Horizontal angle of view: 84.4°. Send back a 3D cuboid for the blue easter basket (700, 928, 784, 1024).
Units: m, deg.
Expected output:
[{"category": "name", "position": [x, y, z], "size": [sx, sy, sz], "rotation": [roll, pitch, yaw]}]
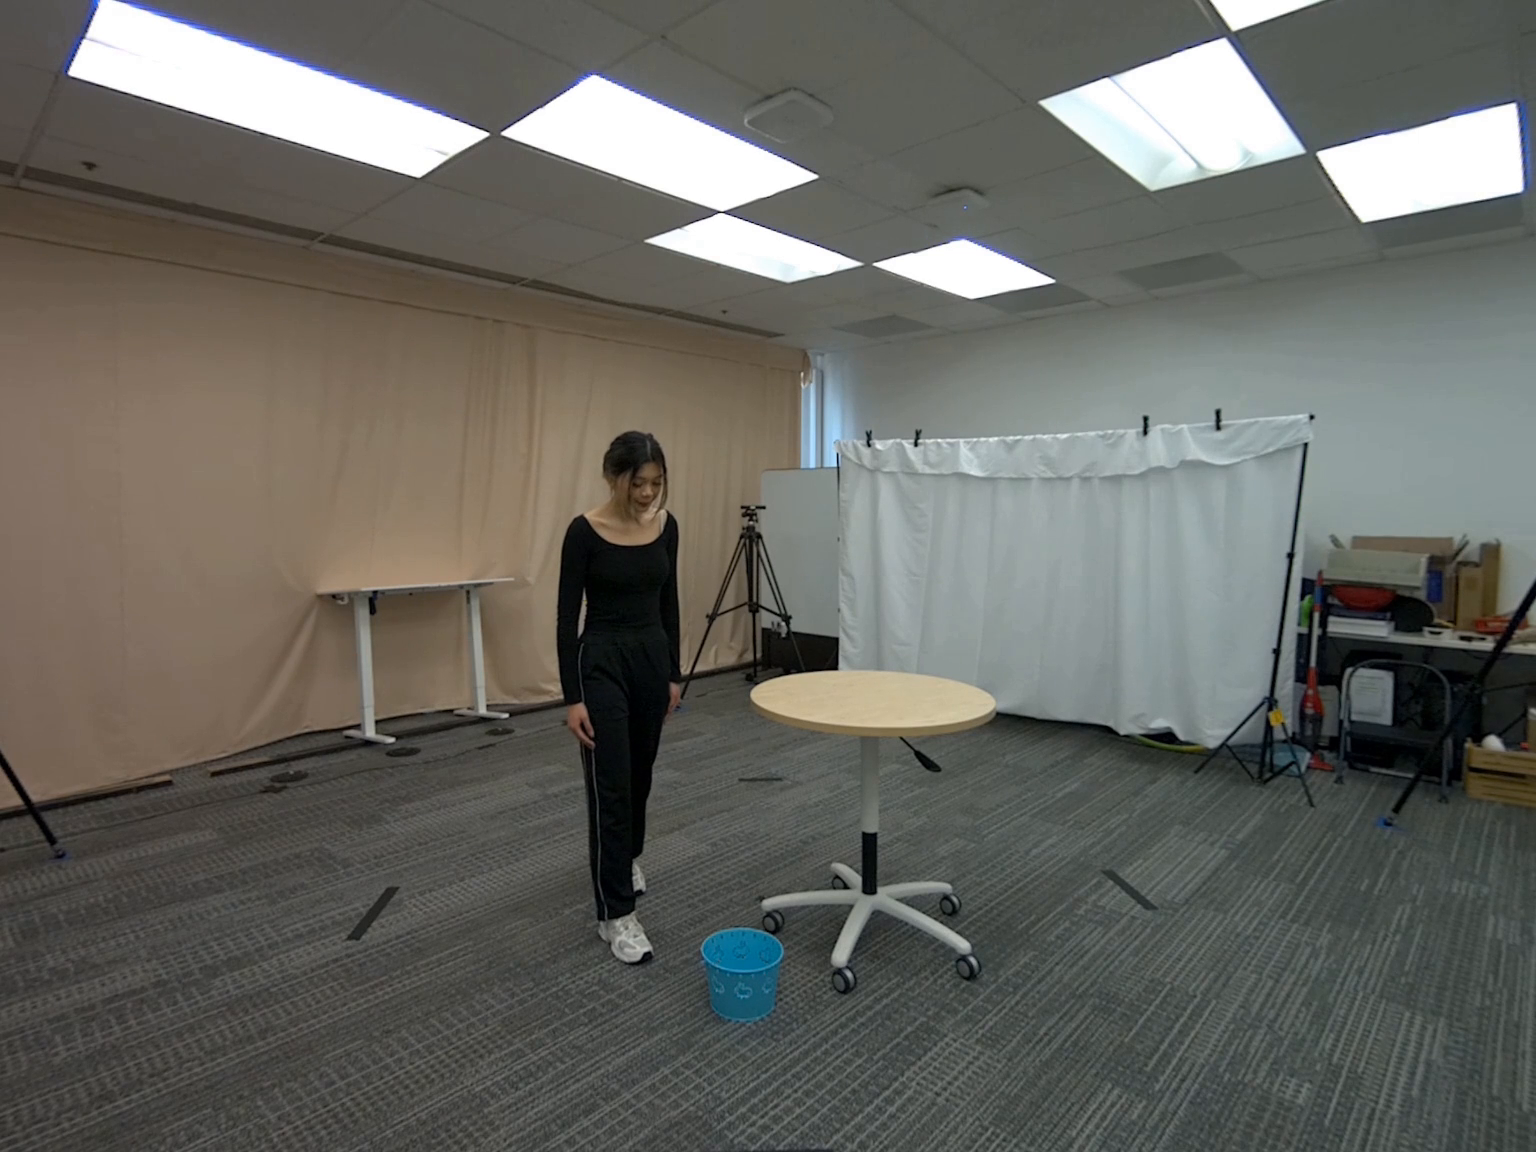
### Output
[{"category": "blue easter basket", "position": [-0.067, 1.120, 2.362], "size": [0.243, 0.155, 0.244], "rotation": [0, 4, -2]}]
